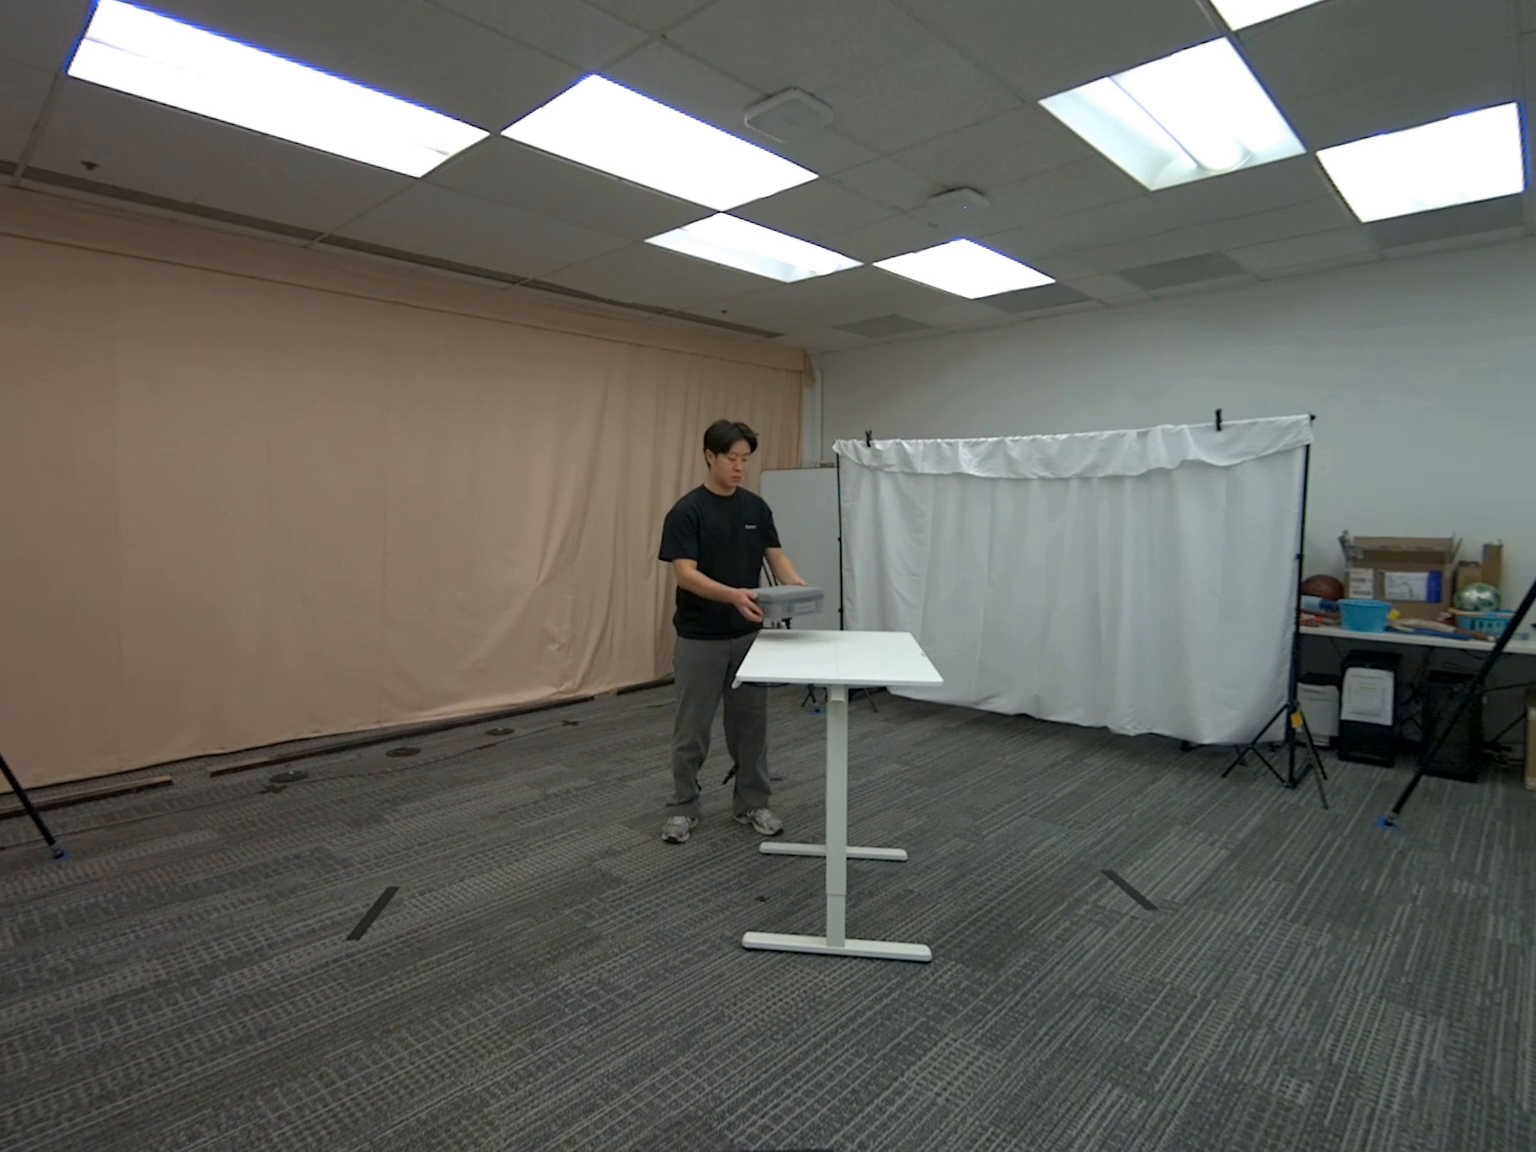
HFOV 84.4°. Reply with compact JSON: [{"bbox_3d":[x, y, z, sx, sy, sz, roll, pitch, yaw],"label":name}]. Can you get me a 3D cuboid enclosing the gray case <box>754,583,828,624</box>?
[{"bbox_3d":[0.028,0.100,3.239,0.279,0.103,0.272,-7,6,-39],"label":"gray case"}]
